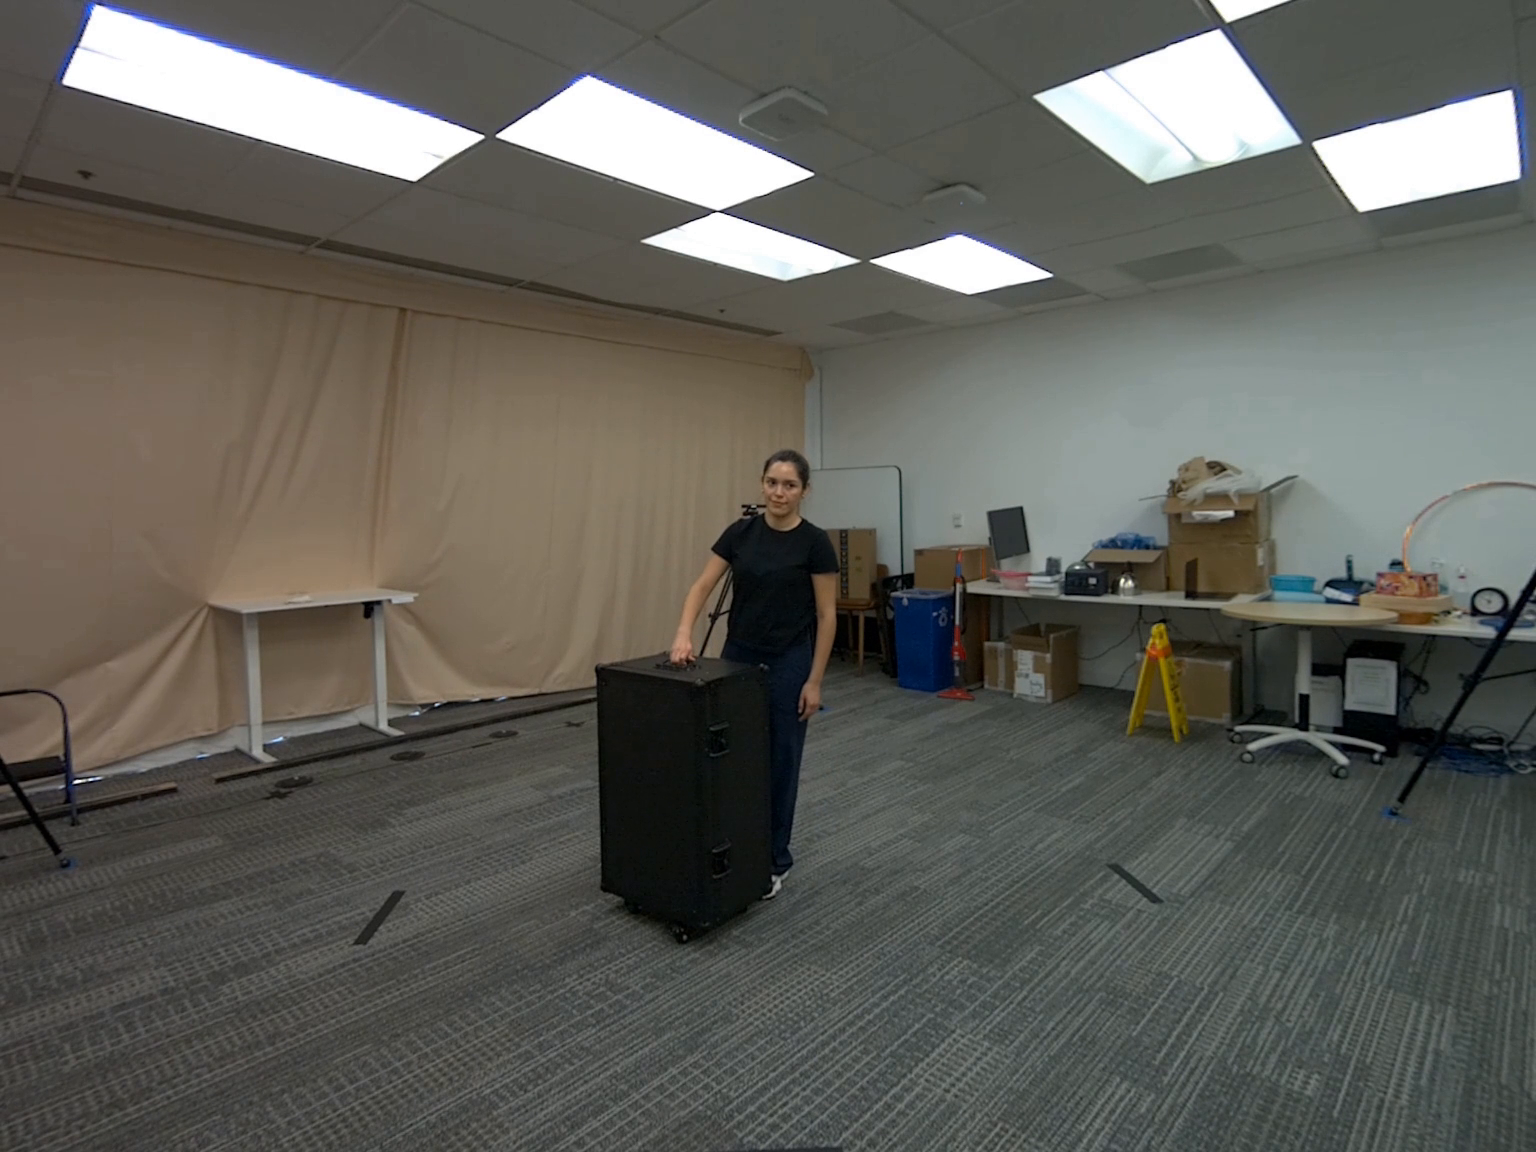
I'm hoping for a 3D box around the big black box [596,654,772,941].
[{"bbox_3d":[-0.274,0.731,2.870,0.538,0.860,0.384,2,4,38],"label":"big black box"}]
